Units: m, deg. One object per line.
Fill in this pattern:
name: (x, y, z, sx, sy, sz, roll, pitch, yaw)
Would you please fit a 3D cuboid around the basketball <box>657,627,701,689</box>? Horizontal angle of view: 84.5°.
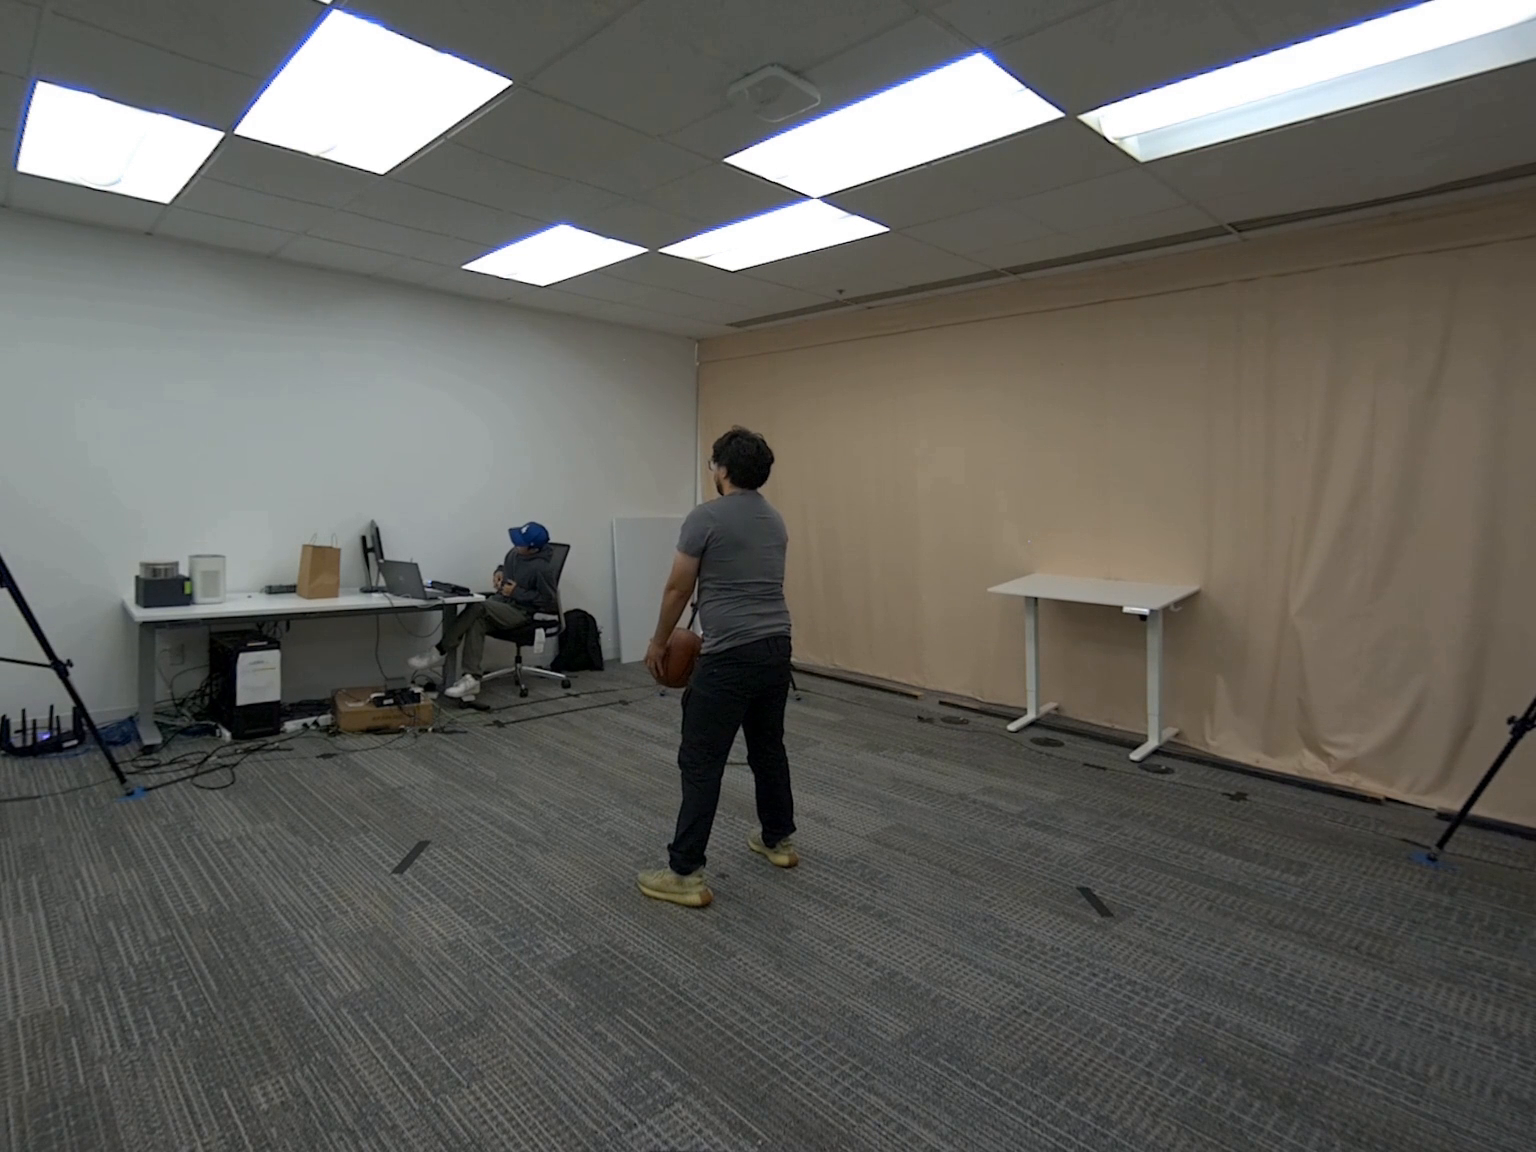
basketball: (-0.364, 0.318, 3.305, 0.236, 0.235, 0.237, 1, 4, -1)
